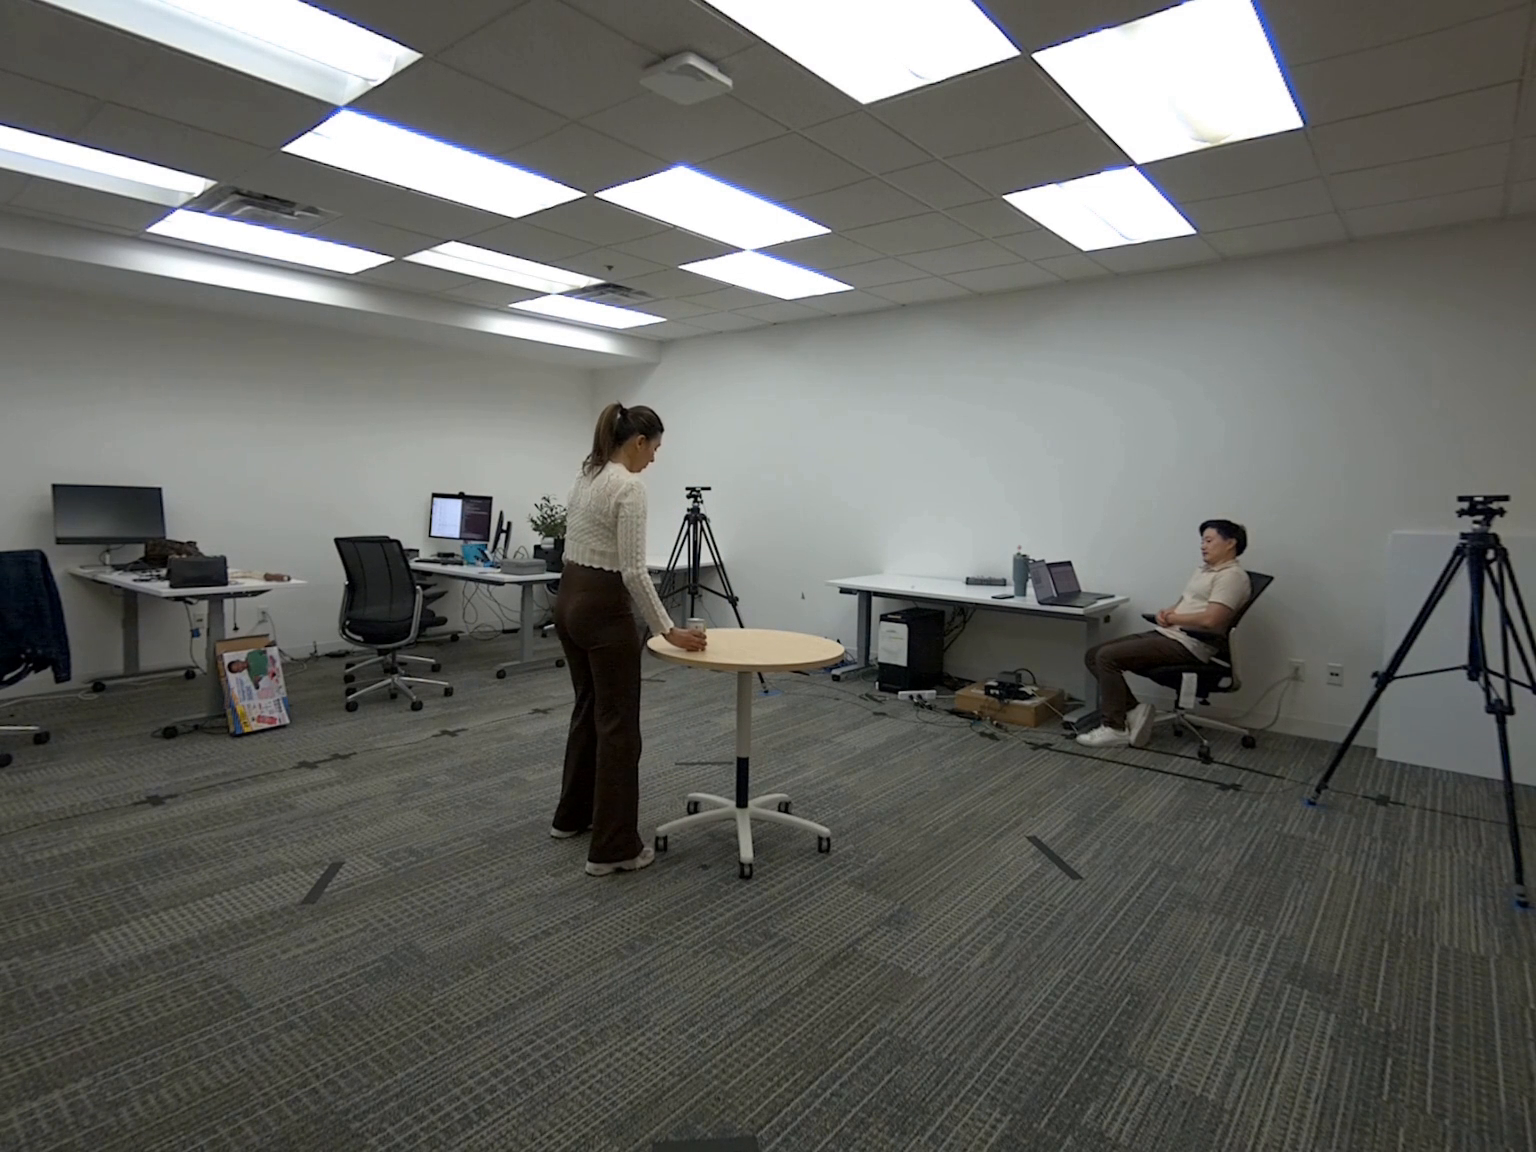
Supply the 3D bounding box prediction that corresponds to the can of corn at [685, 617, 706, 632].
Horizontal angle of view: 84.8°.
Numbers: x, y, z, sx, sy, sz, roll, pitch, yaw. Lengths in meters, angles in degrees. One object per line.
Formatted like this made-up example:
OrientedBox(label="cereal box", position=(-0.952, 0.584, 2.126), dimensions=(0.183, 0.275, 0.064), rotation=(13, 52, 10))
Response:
OrientedBox(label="can of corn", position=(-0.283, 0.220, 3.174), dimensions=(0.074, 0.111, 0.074), rotation=(0, 4, -2))
